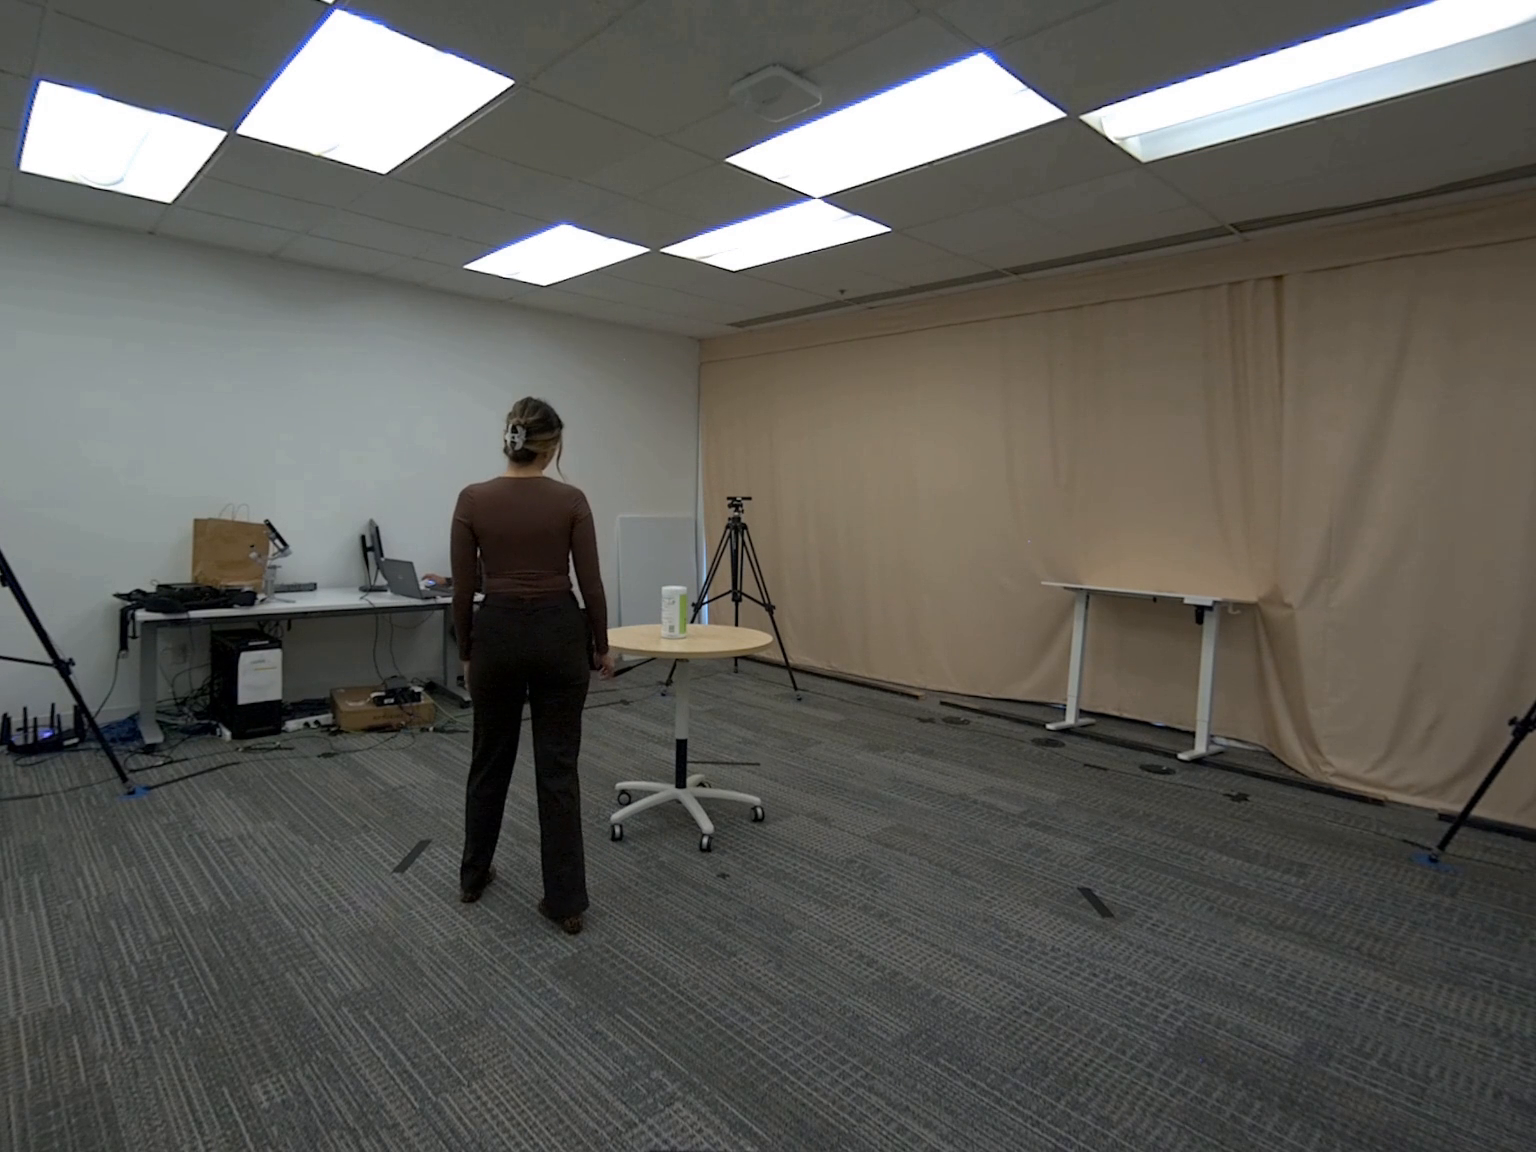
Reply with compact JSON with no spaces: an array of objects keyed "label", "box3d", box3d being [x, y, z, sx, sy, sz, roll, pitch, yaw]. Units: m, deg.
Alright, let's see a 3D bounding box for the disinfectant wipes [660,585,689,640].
[{"label":"disinfectant wipes","box3d":[-0.409,0.156,3.578,0.118,0.217,0.118,3,3,-2]}]
